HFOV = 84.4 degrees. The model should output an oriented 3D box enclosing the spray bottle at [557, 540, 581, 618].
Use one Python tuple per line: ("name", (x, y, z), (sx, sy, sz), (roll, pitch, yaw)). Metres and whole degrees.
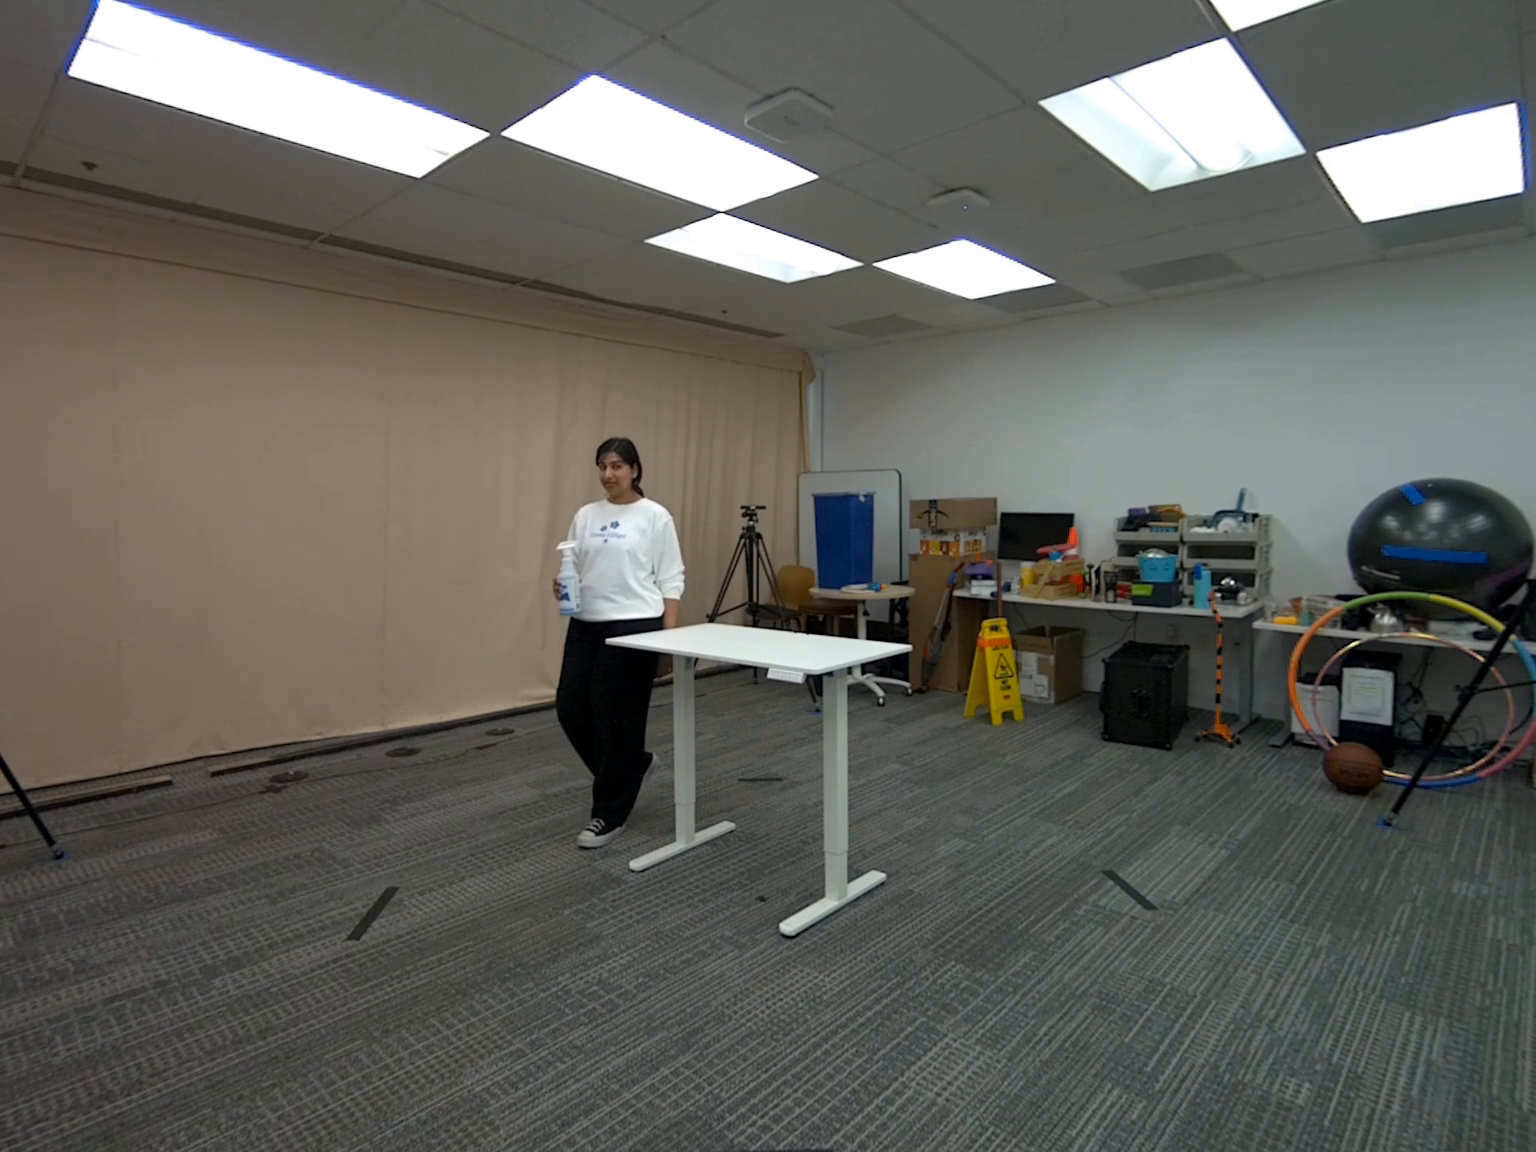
("spray bottle", (-0.794, 0.010, 3.383), (0.090, 0.297, 0.087), (-2, 1, -1))
